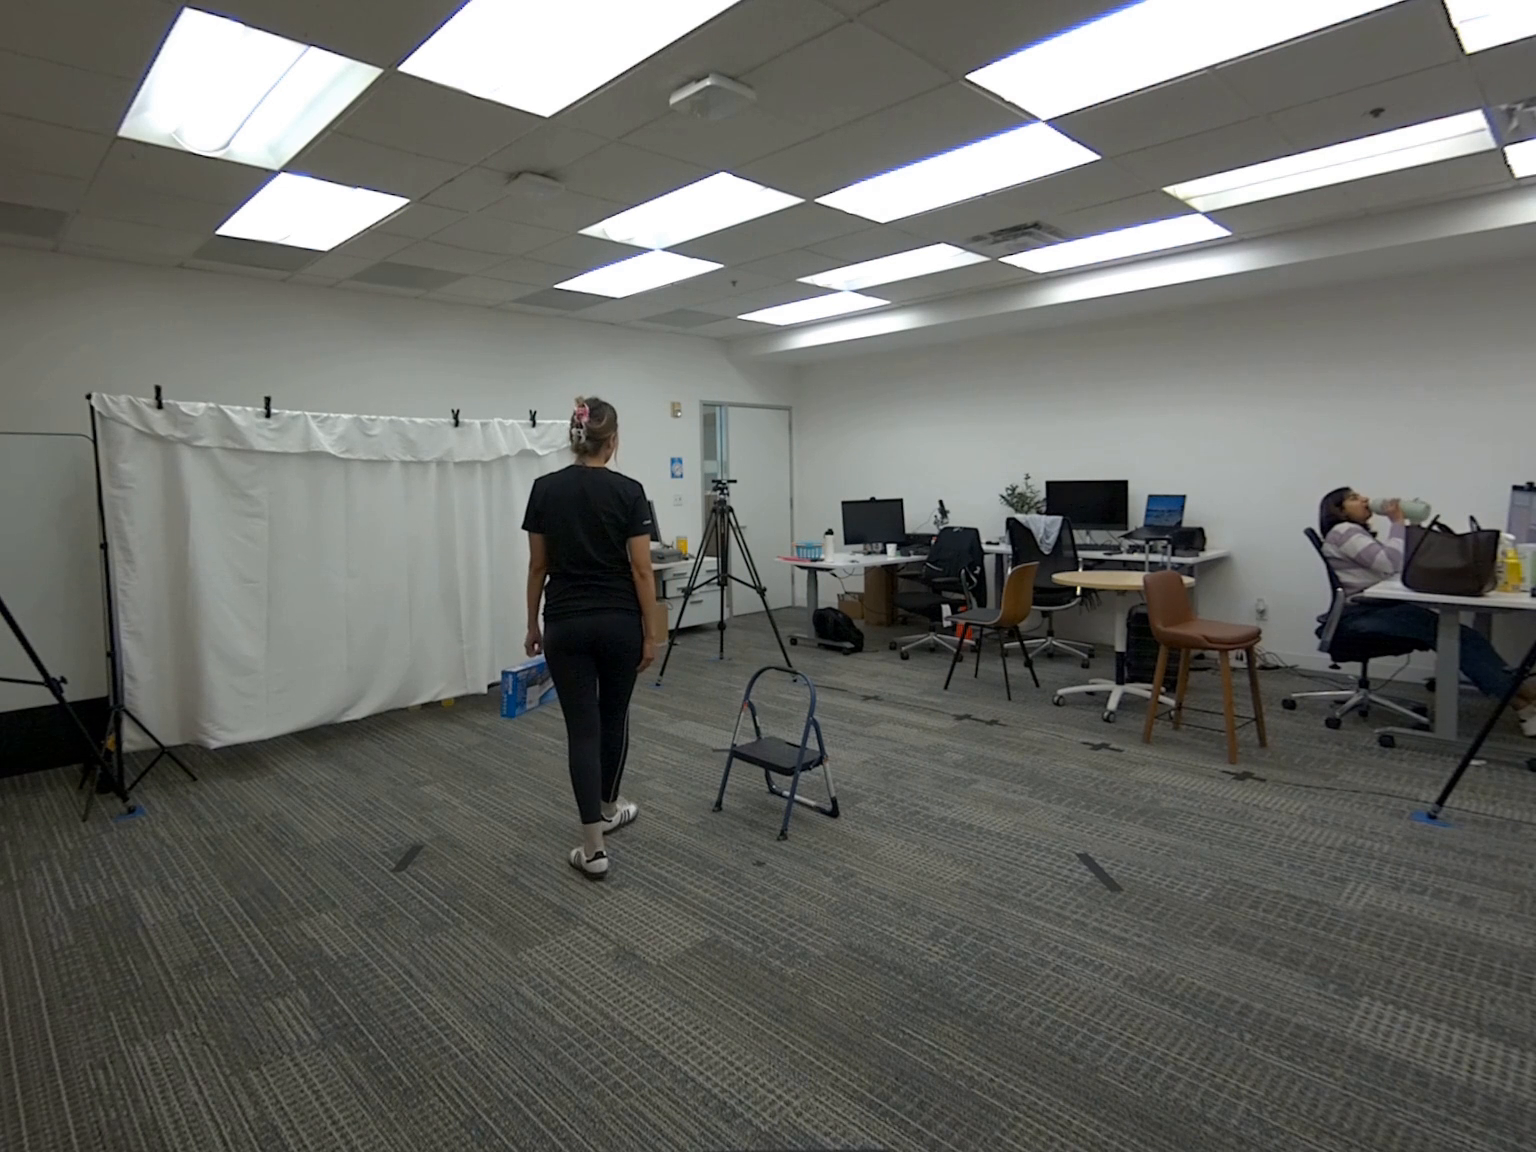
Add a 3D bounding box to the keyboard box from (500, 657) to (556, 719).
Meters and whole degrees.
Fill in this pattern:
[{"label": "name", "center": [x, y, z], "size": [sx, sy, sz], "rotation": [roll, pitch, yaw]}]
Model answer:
[{"label": "keyboard box", "center": [-0.900, 0.417, 3.341], "size": [0.060, 0.175, 0.432], "rotation": [3, 4, 12]}]
